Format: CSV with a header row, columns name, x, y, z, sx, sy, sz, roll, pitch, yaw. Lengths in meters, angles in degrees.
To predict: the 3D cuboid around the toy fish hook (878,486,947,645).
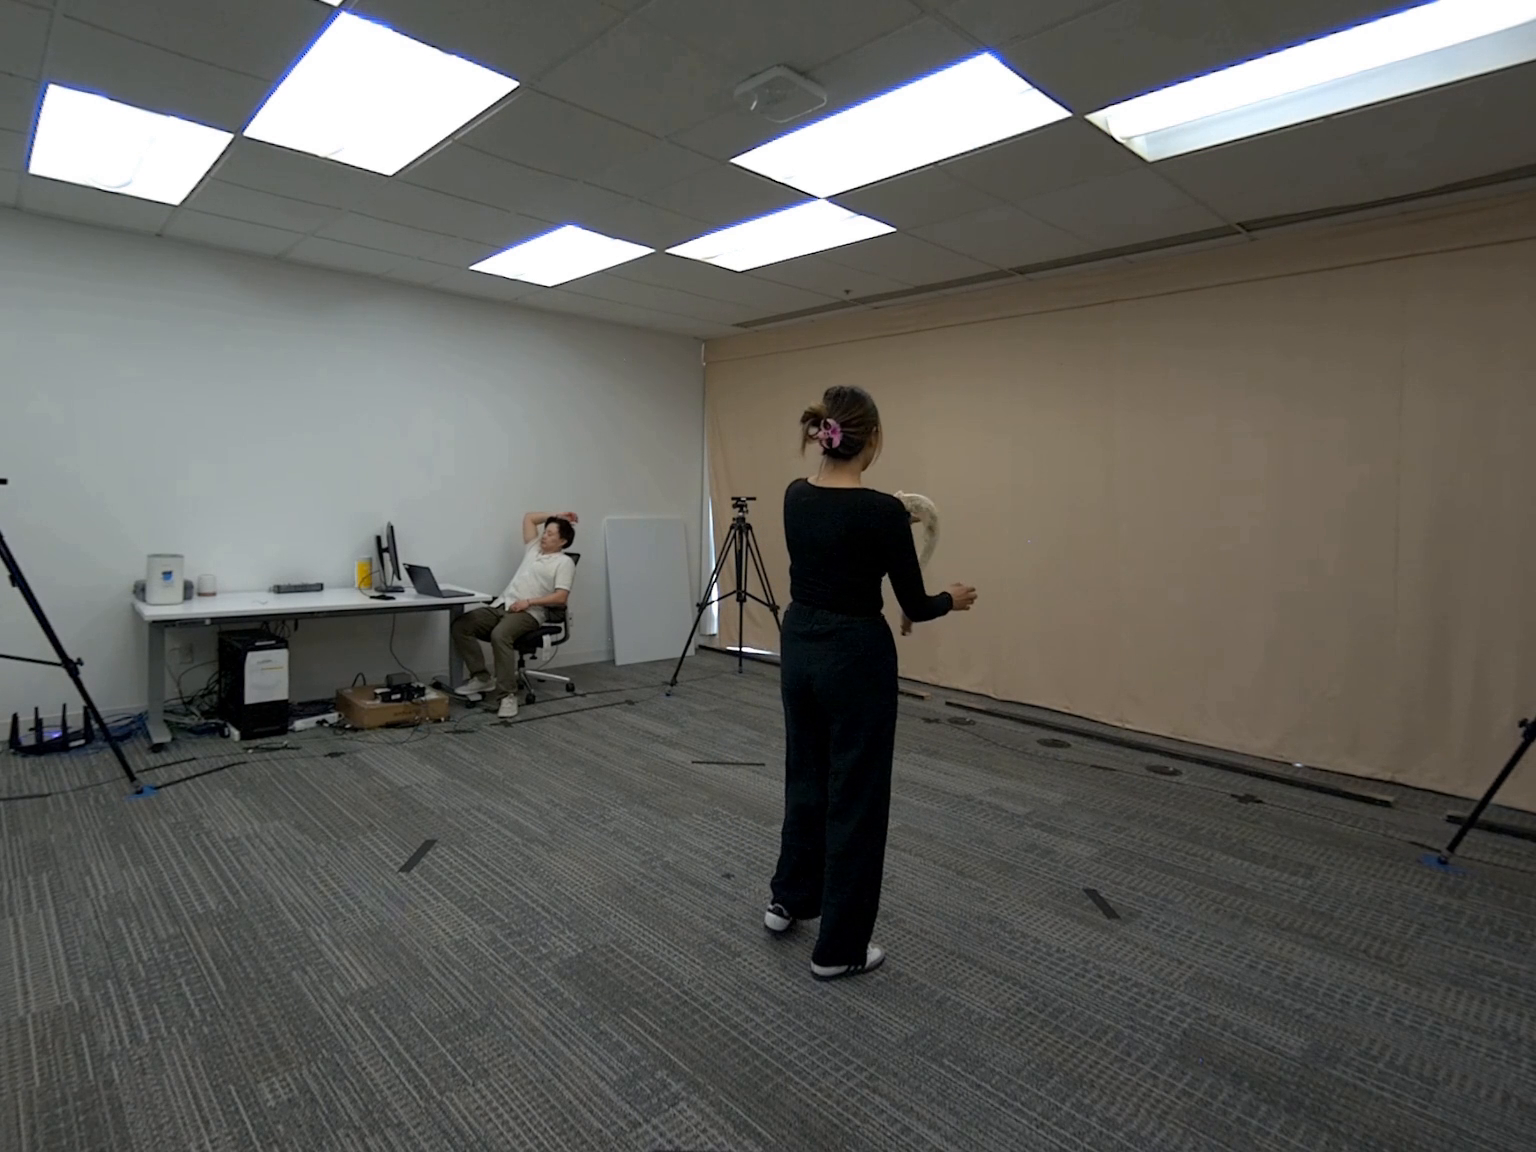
name,x,y,z,sx,sy,sz,roll,pitch,yaw
toy fish hook,0.462,-0.040,2.920,0.230,0.502,0.047,13,14,31
